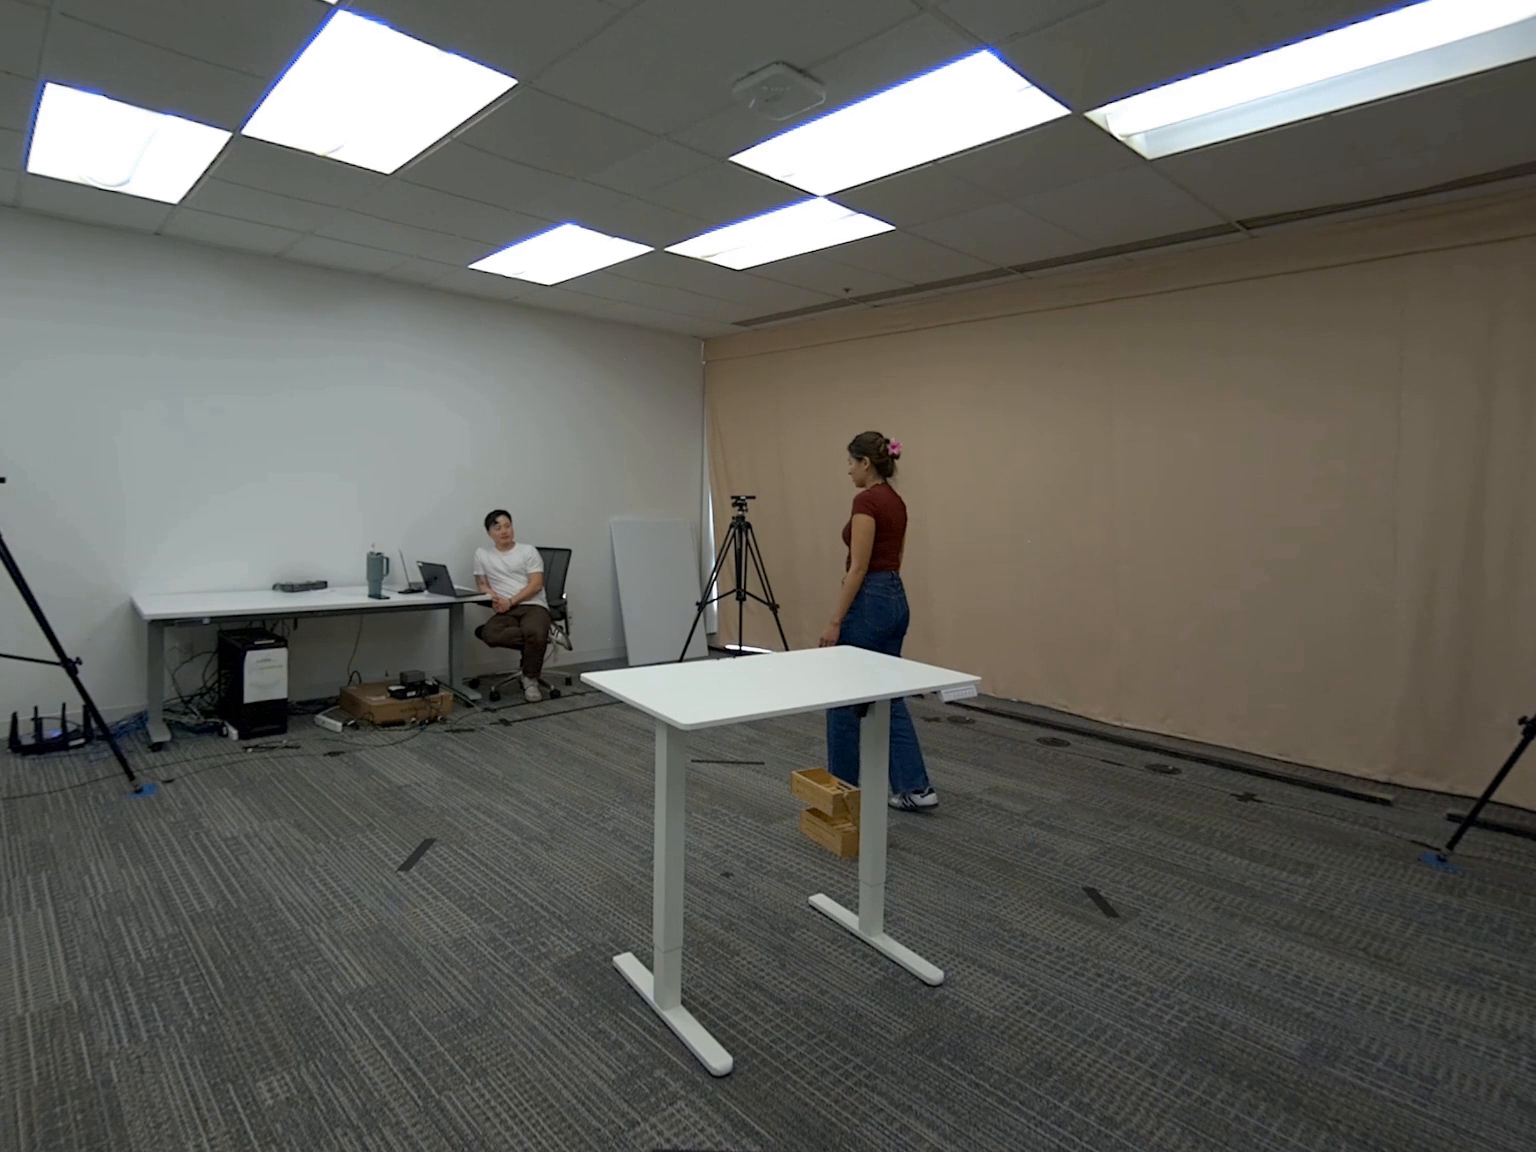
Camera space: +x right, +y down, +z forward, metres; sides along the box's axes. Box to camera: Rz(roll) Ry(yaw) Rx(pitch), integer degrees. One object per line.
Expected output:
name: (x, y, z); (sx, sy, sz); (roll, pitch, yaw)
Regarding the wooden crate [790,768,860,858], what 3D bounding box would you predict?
wooden crate: (0.292, 0.949, 3.446); (0.296, 0.273, 0.332); (-1, 4, -30)
